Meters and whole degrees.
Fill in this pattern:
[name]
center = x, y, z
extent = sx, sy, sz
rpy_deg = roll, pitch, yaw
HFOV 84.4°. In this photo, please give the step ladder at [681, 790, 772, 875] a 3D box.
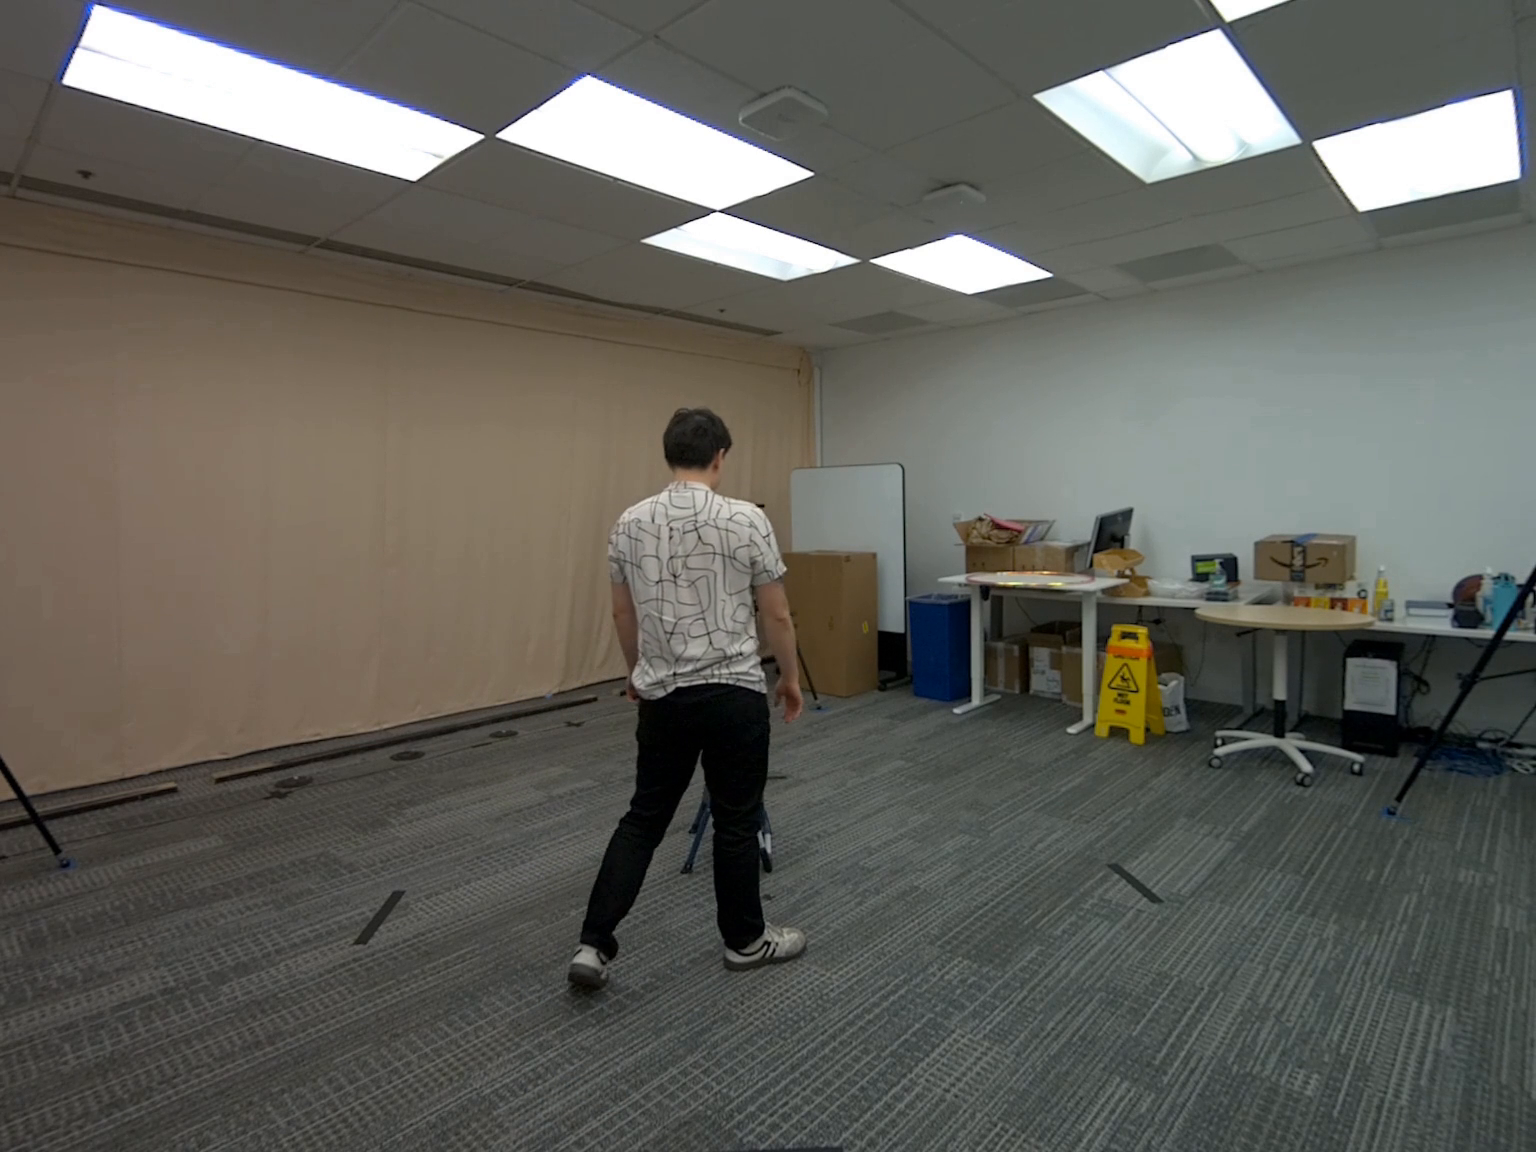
[step ladder]
center = -0.163, 0.803, 3.378
extent = 0.350, 0.605, 0.431
rpy_deg = -1, 3, 0
